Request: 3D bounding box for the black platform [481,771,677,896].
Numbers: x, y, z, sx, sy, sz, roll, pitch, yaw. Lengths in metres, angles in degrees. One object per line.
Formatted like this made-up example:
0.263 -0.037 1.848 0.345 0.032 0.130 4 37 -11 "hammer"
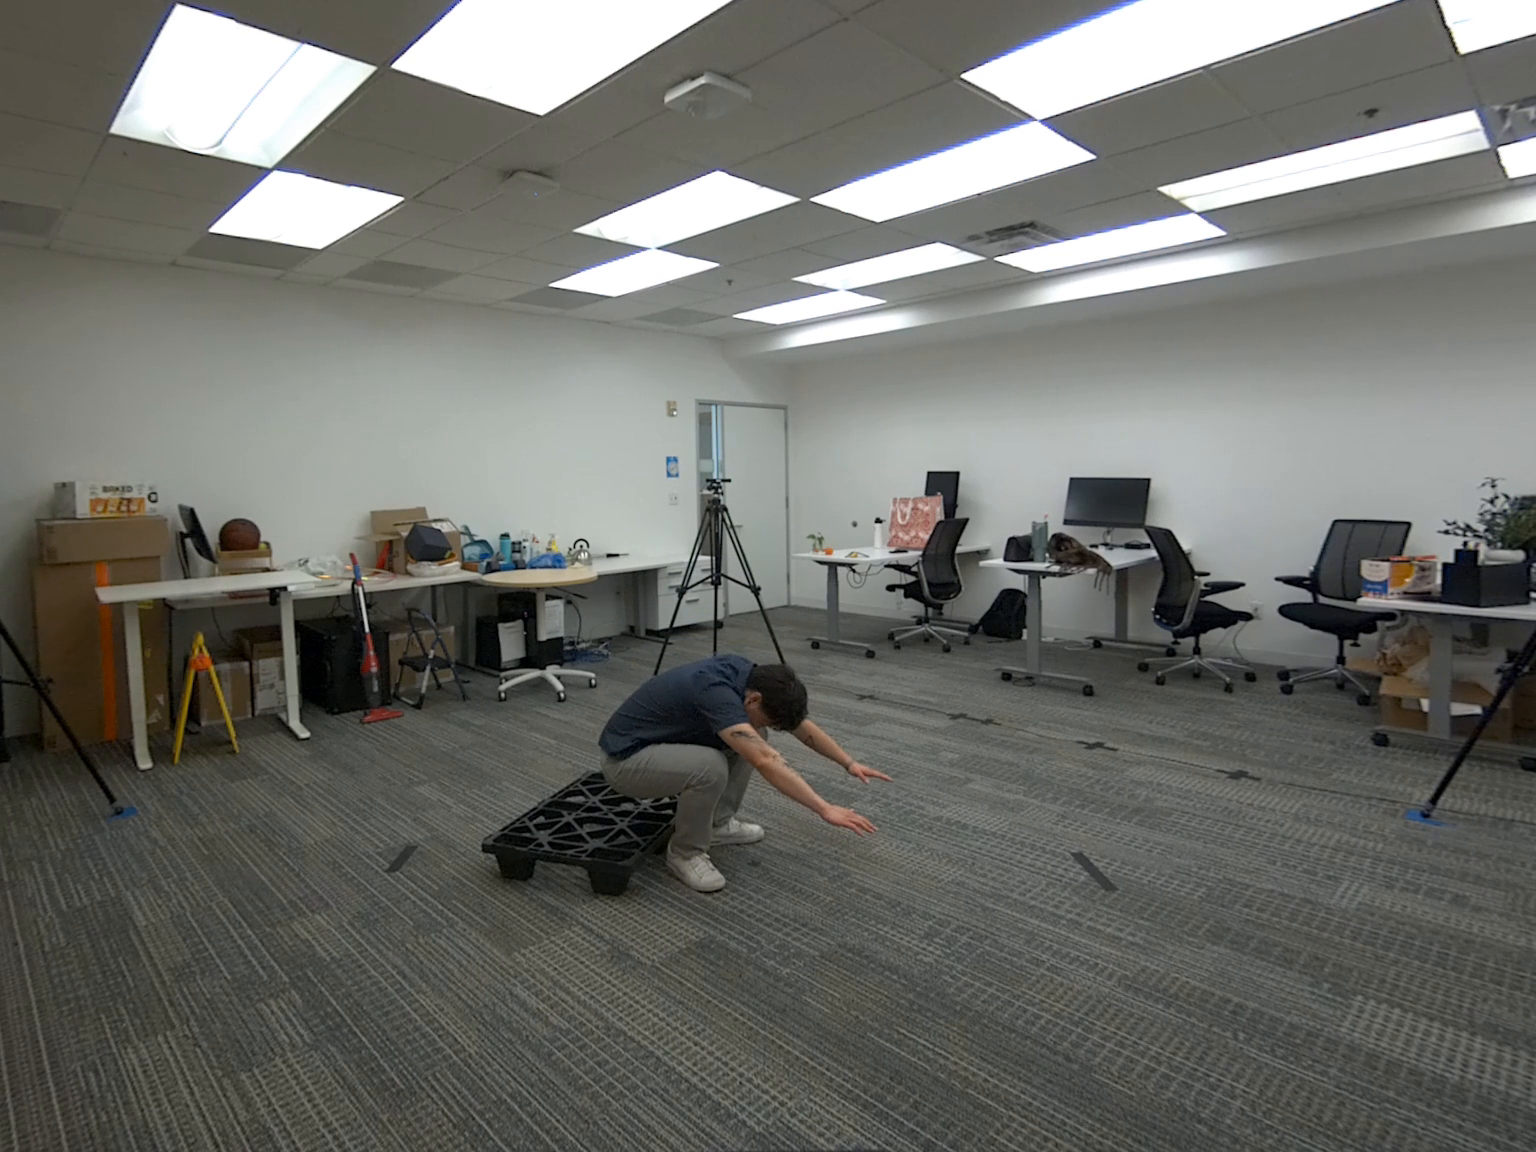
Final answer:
-0.612 0.970 3.294 0.616 0.142 0.795 2 7 18 "black platform"
